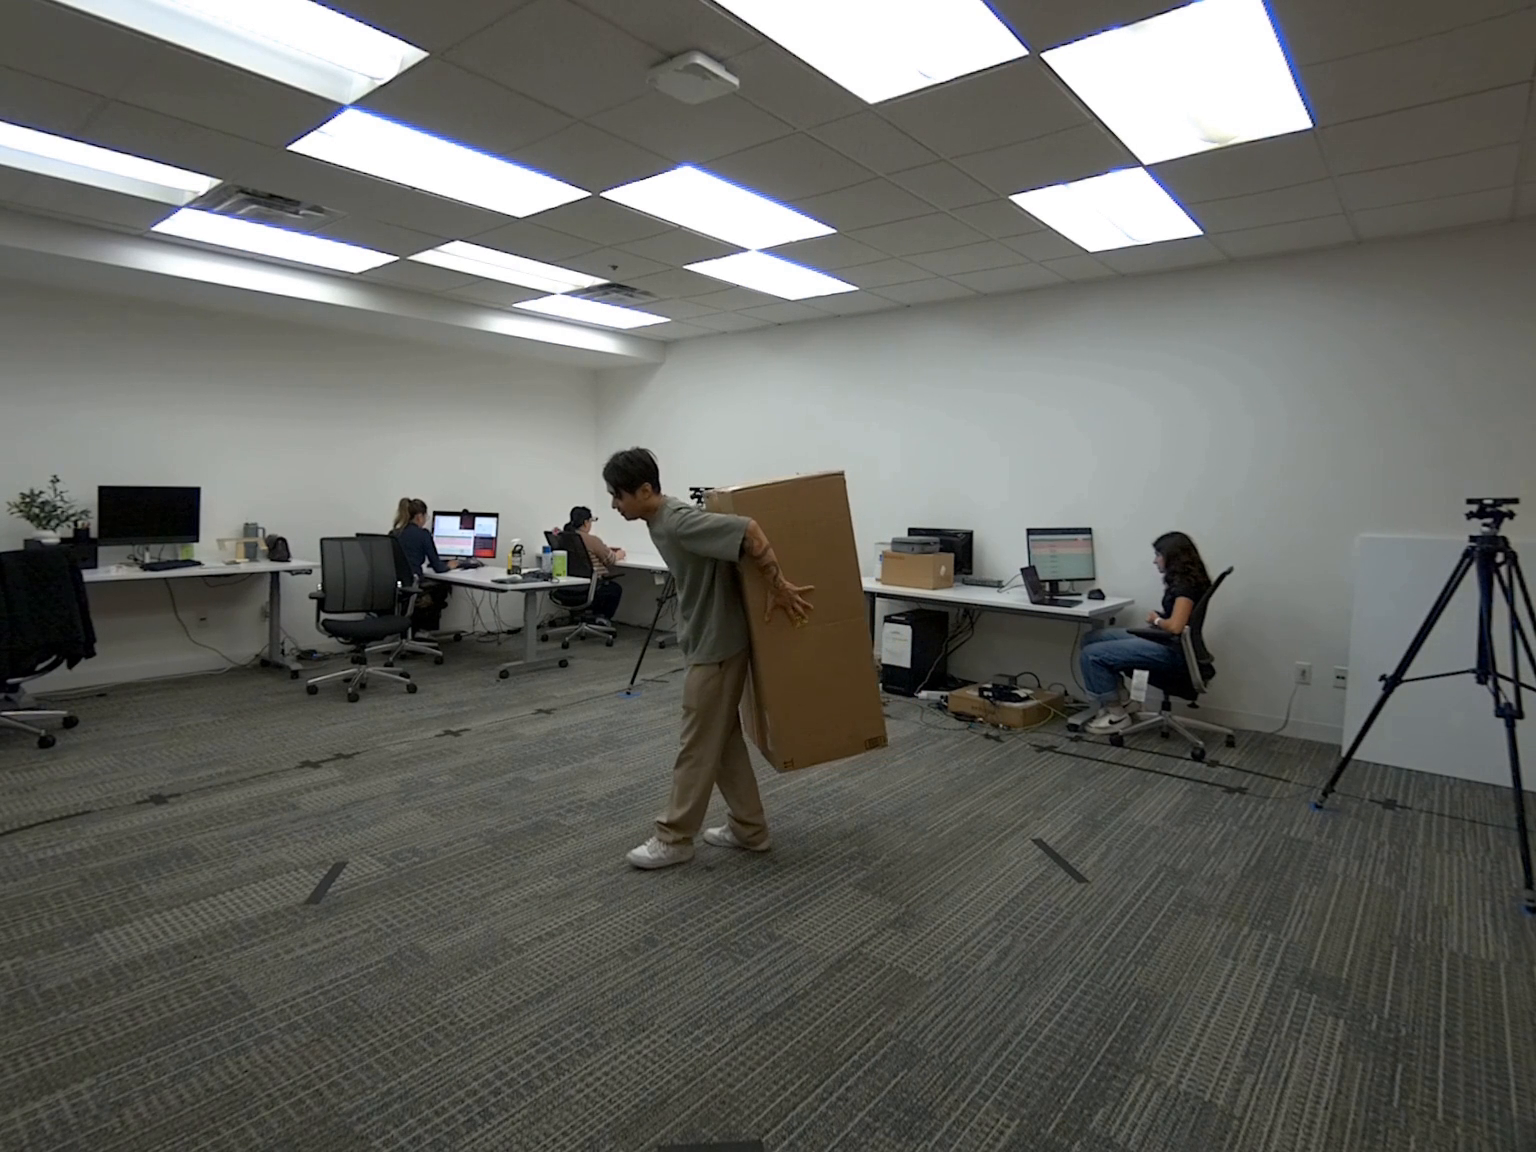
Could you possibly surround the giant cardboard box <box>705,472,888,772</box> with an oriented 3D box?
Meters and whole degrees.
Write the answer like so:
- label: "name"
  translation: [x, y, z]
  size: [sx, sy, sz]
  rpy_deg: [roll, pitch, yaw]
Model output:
- label: "giant cardboard box"
  translation: [0.077, 0.134, 3.287]
  size: [0.422, 1.020, 0.587]
  rpy_deg: [-10, 5, -12]
